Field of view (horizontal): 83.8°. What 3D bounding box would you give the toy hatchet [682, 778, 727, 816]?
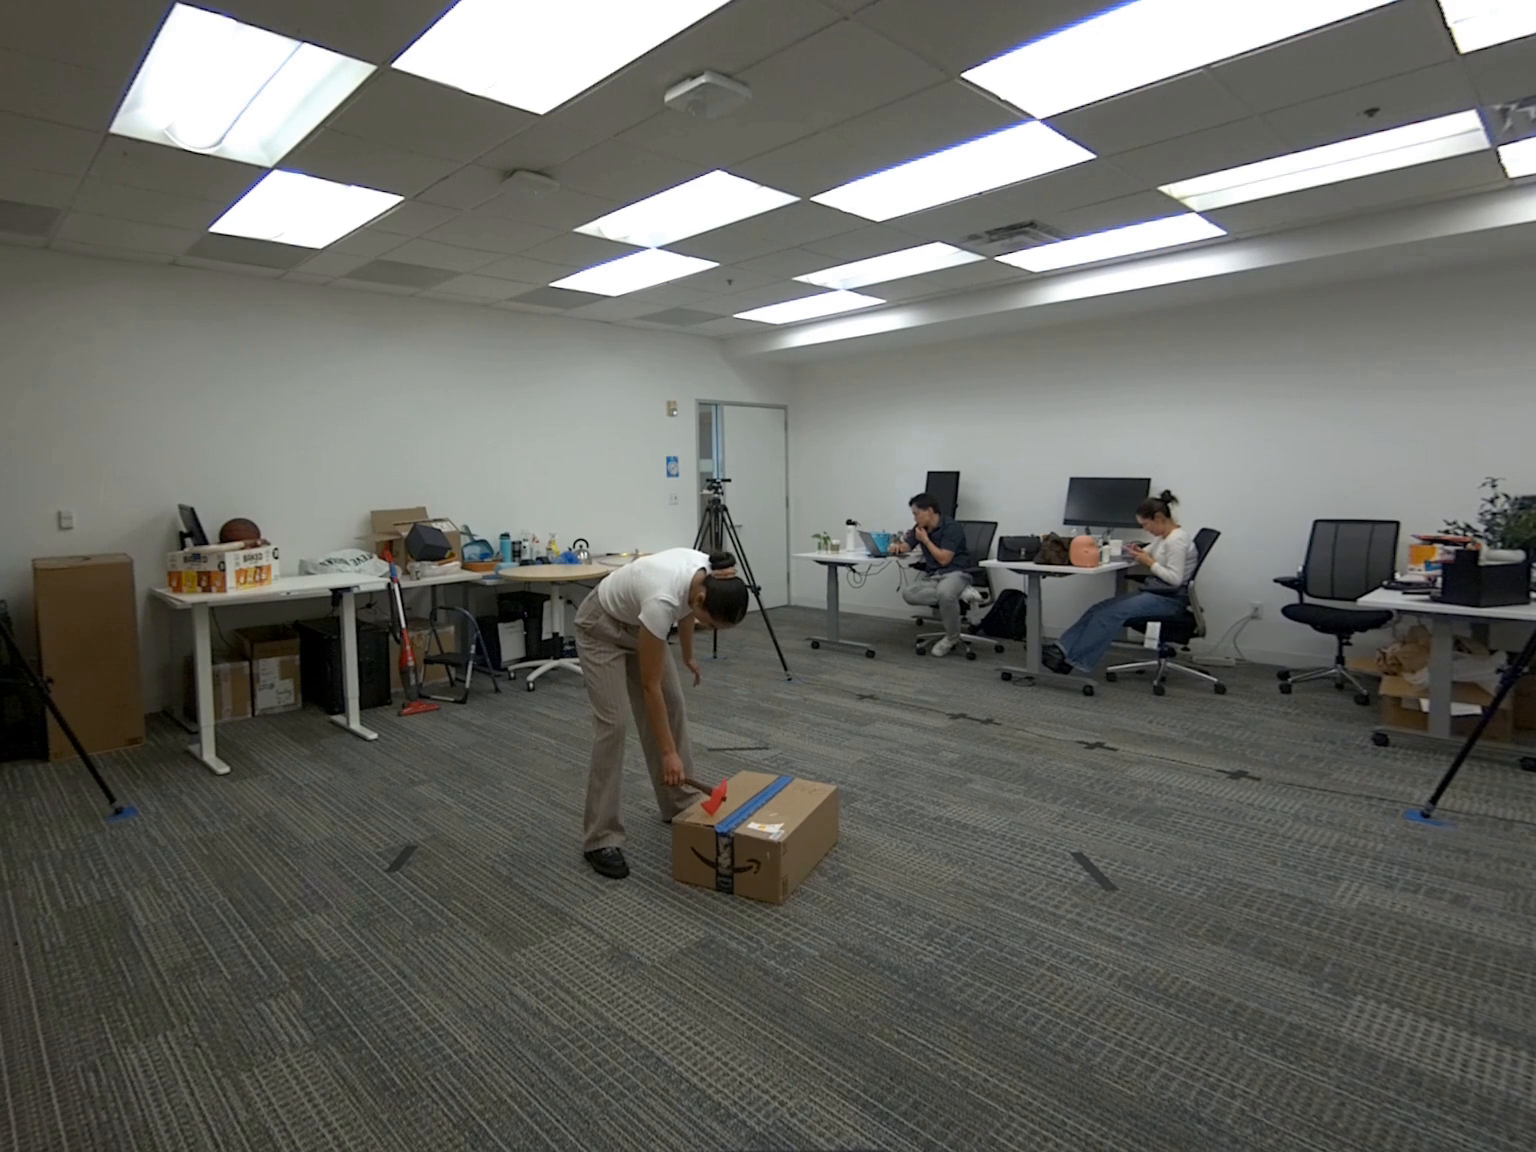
[{"bbox_3d":[-0.267,0.782,3.054,0.275,0.133,0.028,-5,-21,22],"label":"toy hatchet"}]
